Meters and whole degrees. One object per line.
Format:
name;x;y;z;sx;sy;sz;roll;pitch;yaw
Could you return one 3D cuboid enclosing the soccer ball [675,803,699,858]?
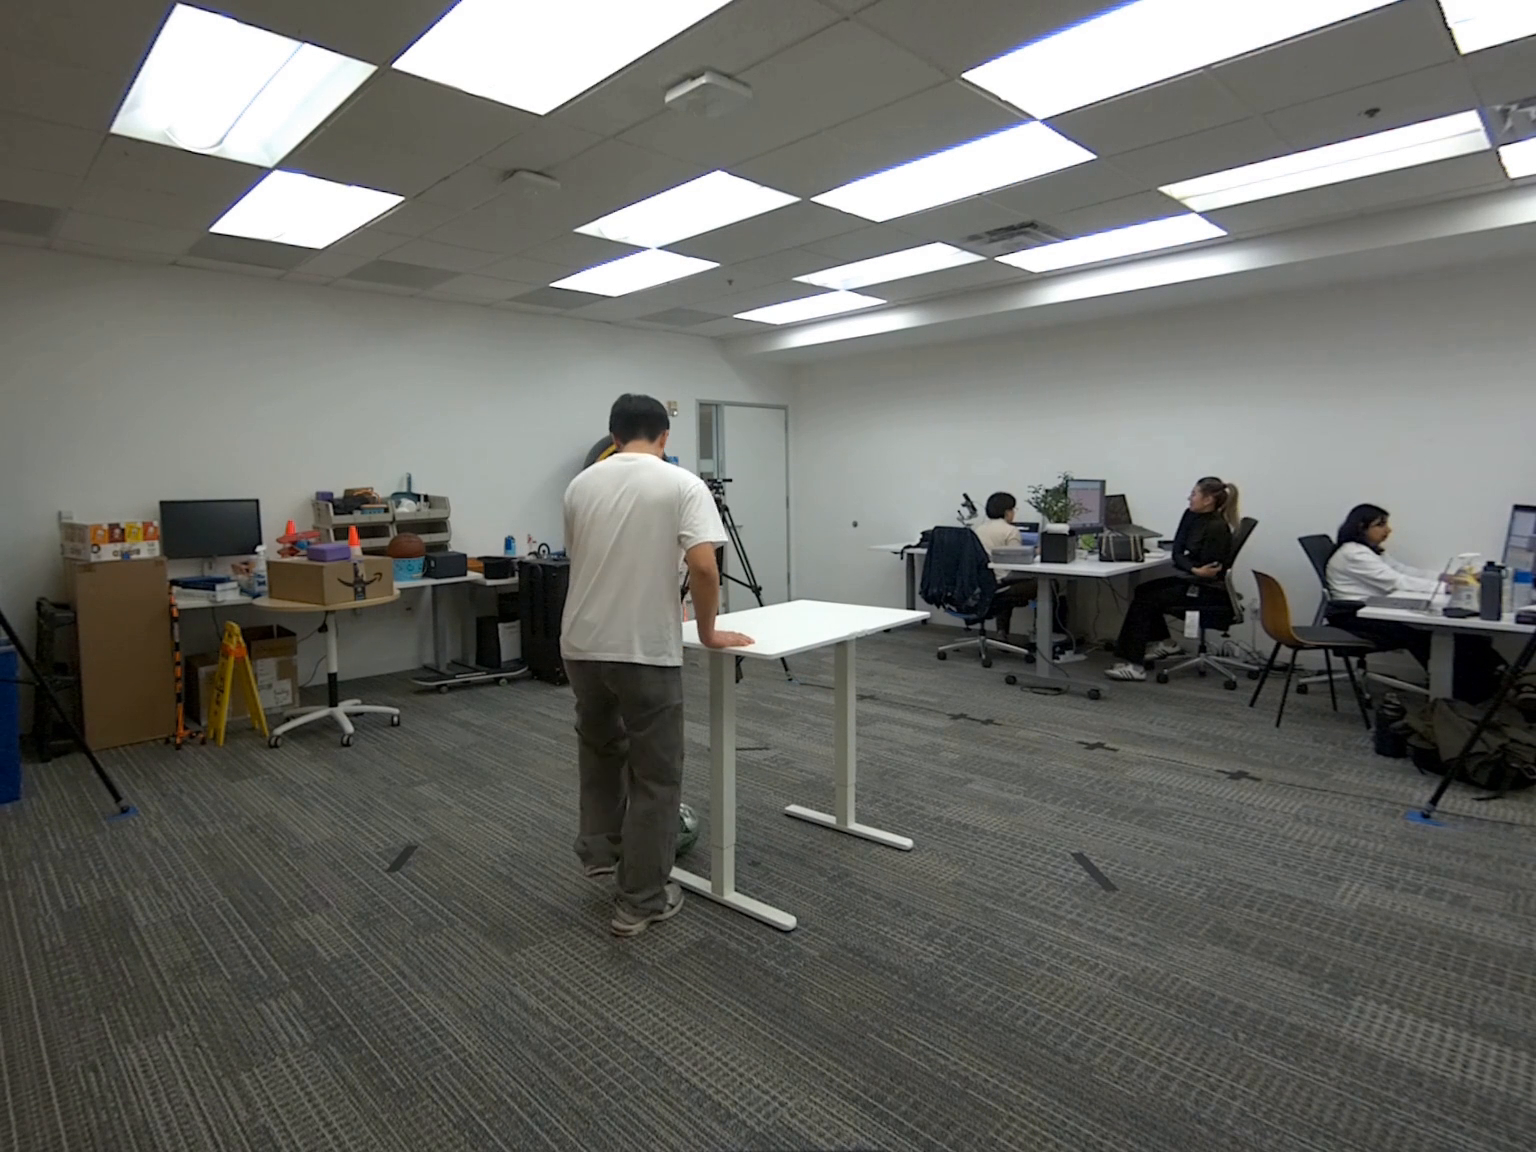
soccer ball;-0.342;0.948;3.202;0.187;0.187;0.188;-1;5;-2
